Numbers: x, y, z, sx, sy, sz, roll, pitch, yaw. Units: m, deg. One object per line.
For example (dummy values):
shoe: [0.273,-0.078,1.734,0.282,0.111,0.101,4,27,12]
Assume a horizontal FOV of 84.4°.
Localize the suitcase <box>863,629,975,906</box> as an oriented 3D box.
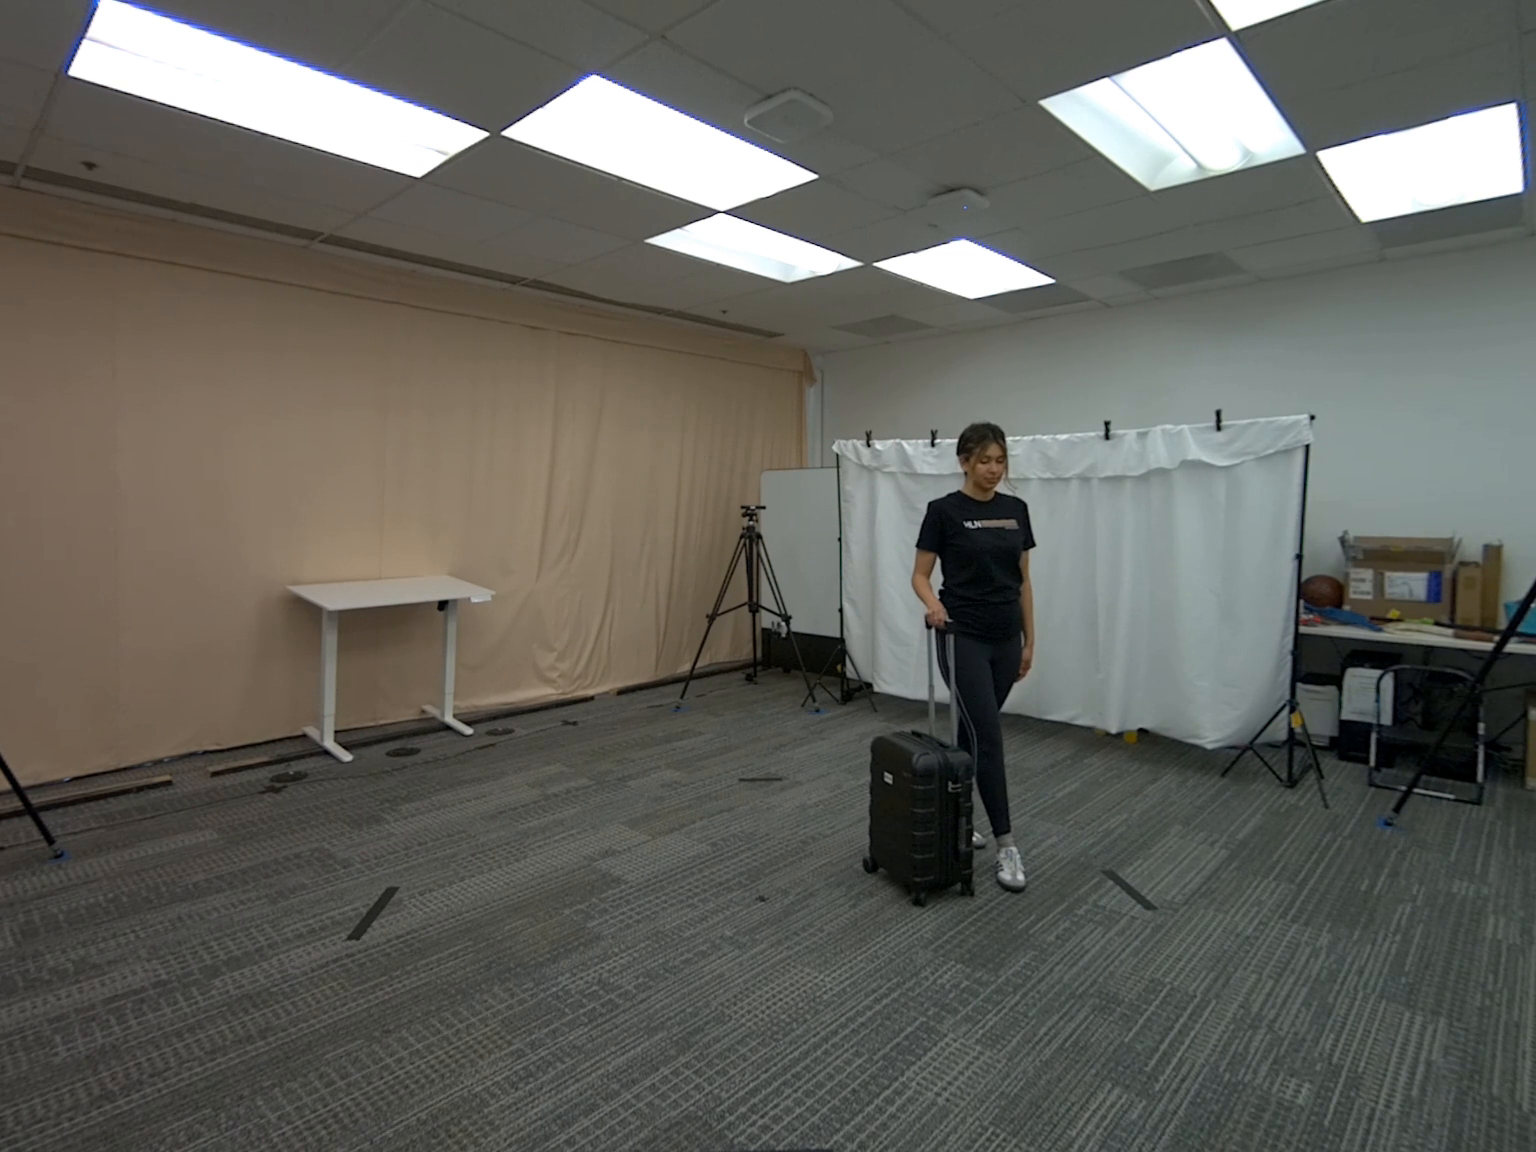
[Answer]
suitcase: [0.552,0.659,3.058,0.252,0.976,0.393,-2,4,-22]
